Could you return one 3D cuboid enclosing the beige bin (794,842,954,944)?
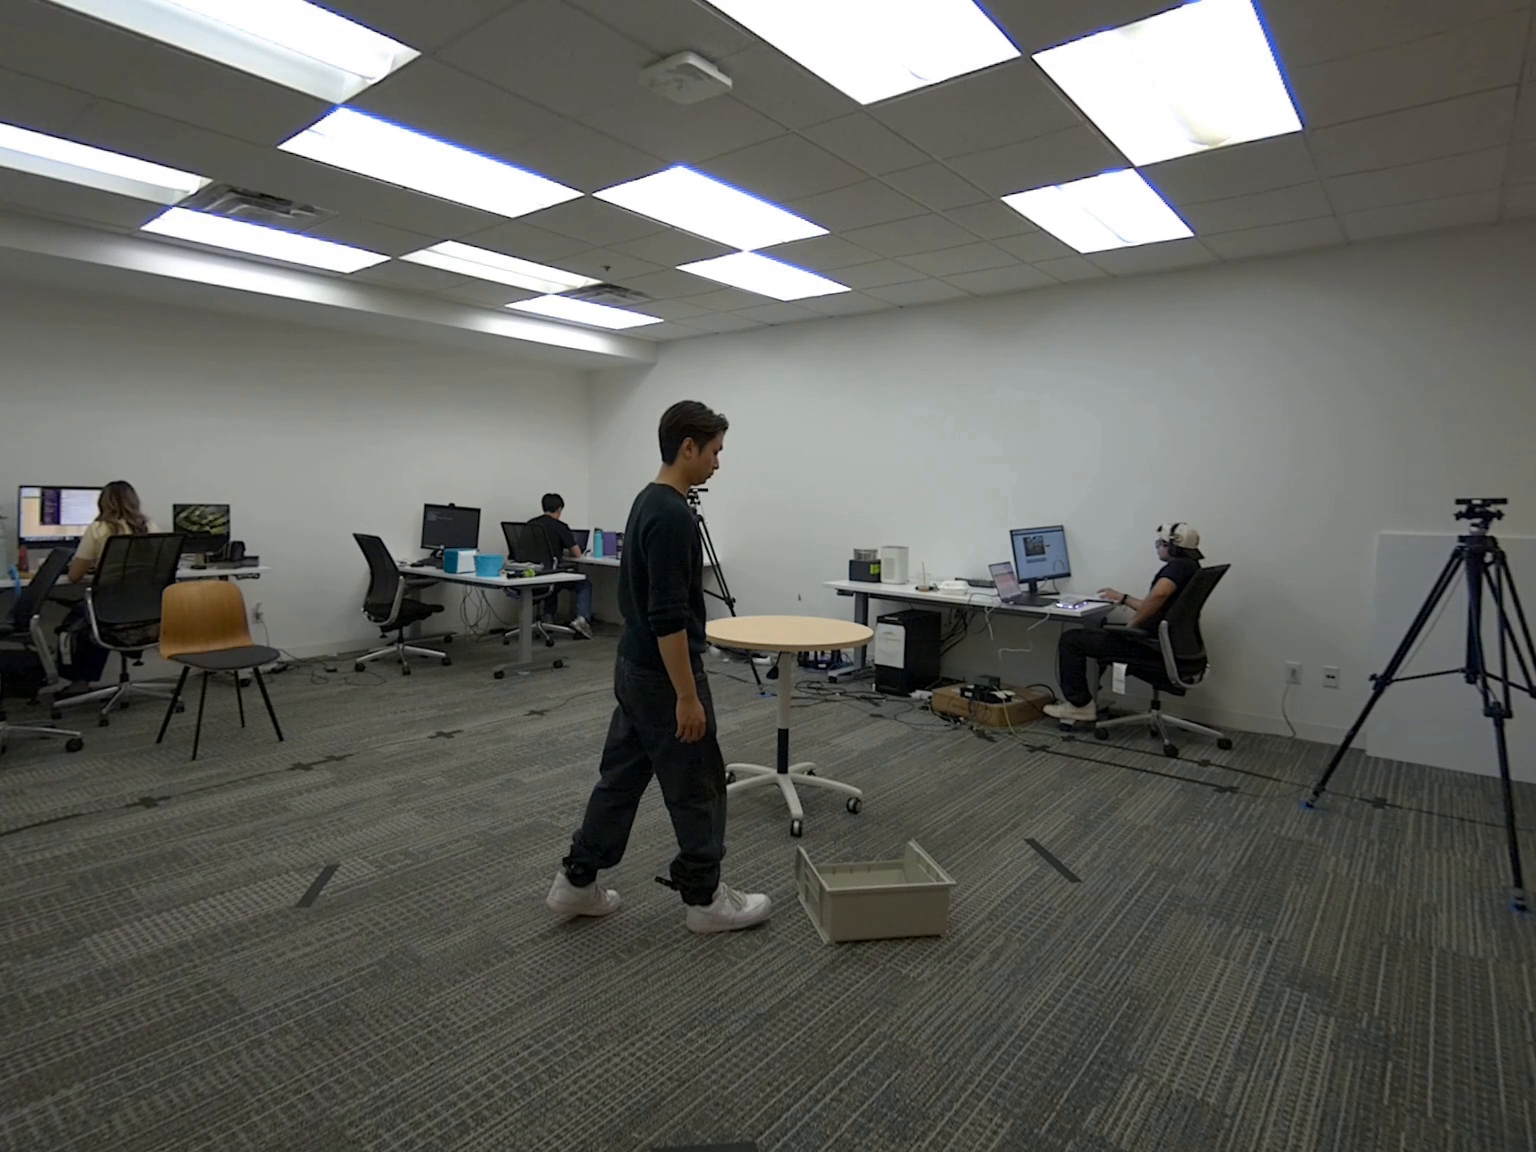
[{"bbox_3d":[0.329,1.022,2.805,0.417,0.188,0.384,1,6,-12],"label":"beige bin"}]
